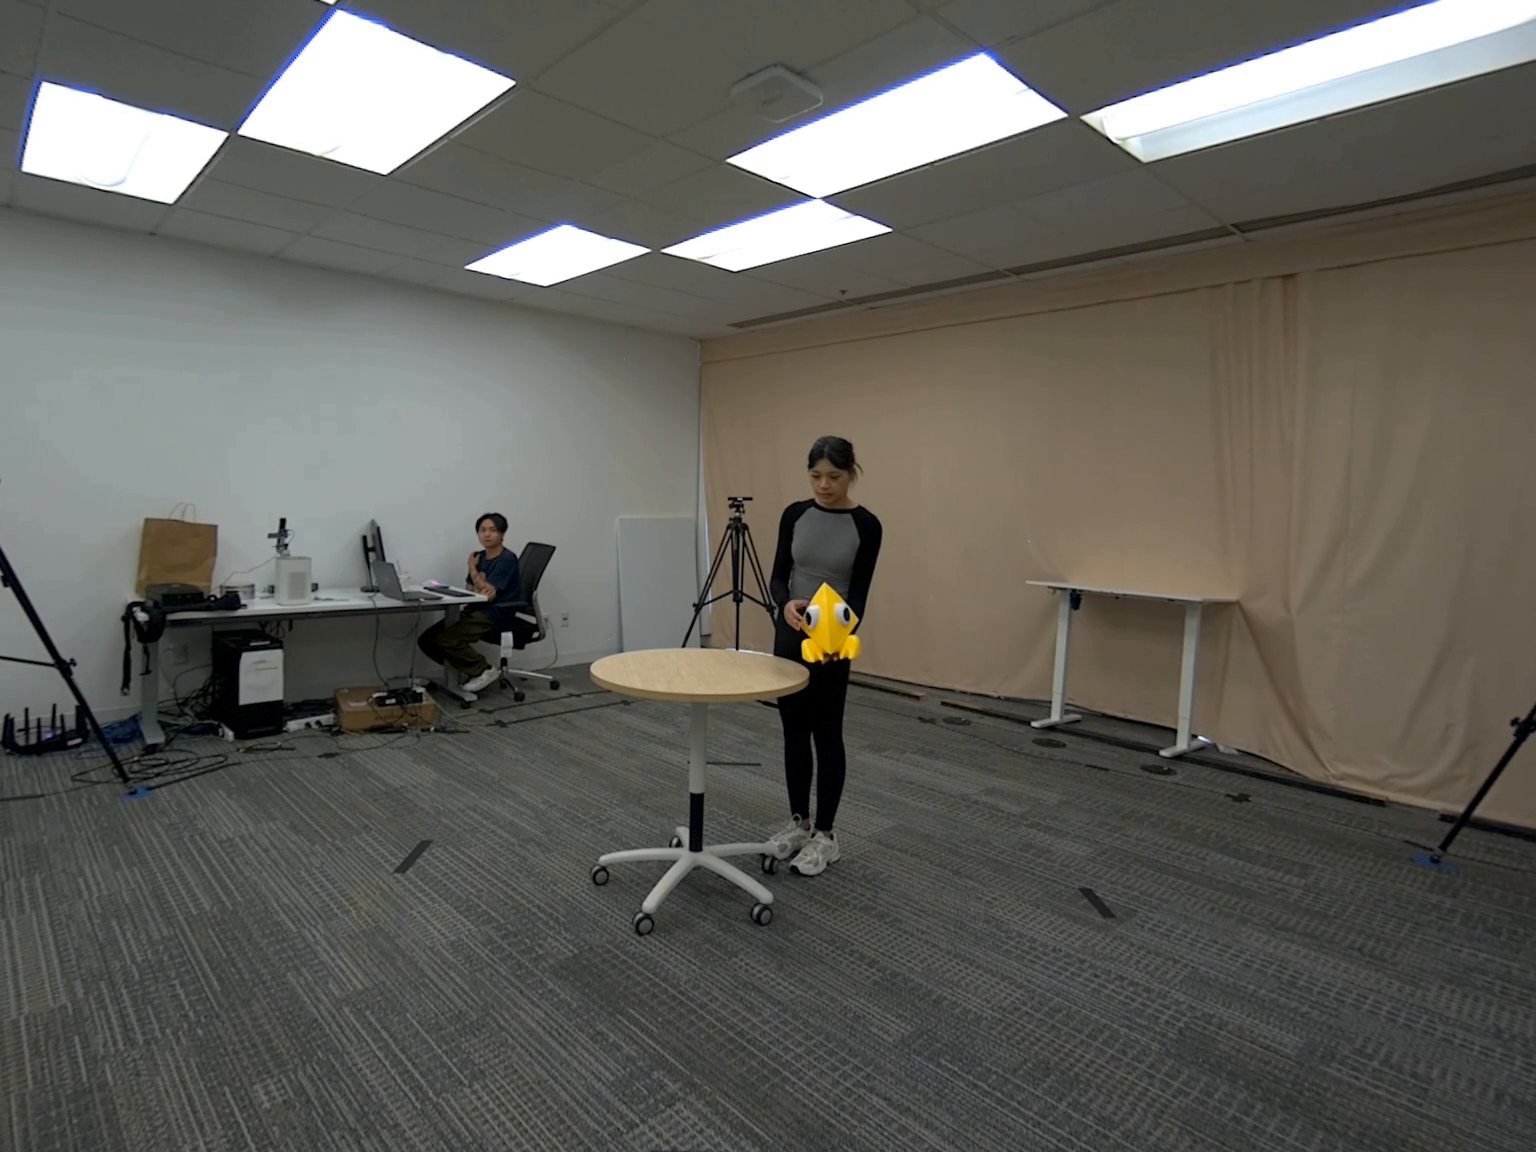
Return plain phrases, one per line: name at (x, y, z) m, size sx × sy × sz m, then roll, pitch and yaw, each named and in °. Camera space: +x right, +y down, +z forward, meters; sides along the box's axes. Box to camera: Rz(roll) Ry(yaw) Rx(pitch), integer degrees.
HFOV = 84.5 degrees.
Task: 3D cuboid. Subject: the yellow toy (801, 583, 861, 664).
yellow toy at (0.191, 0.147, 2.847) m, size 0.206 × 0.229 × 0.194 m, roll -5°, pitch 11°, yaw 7°
